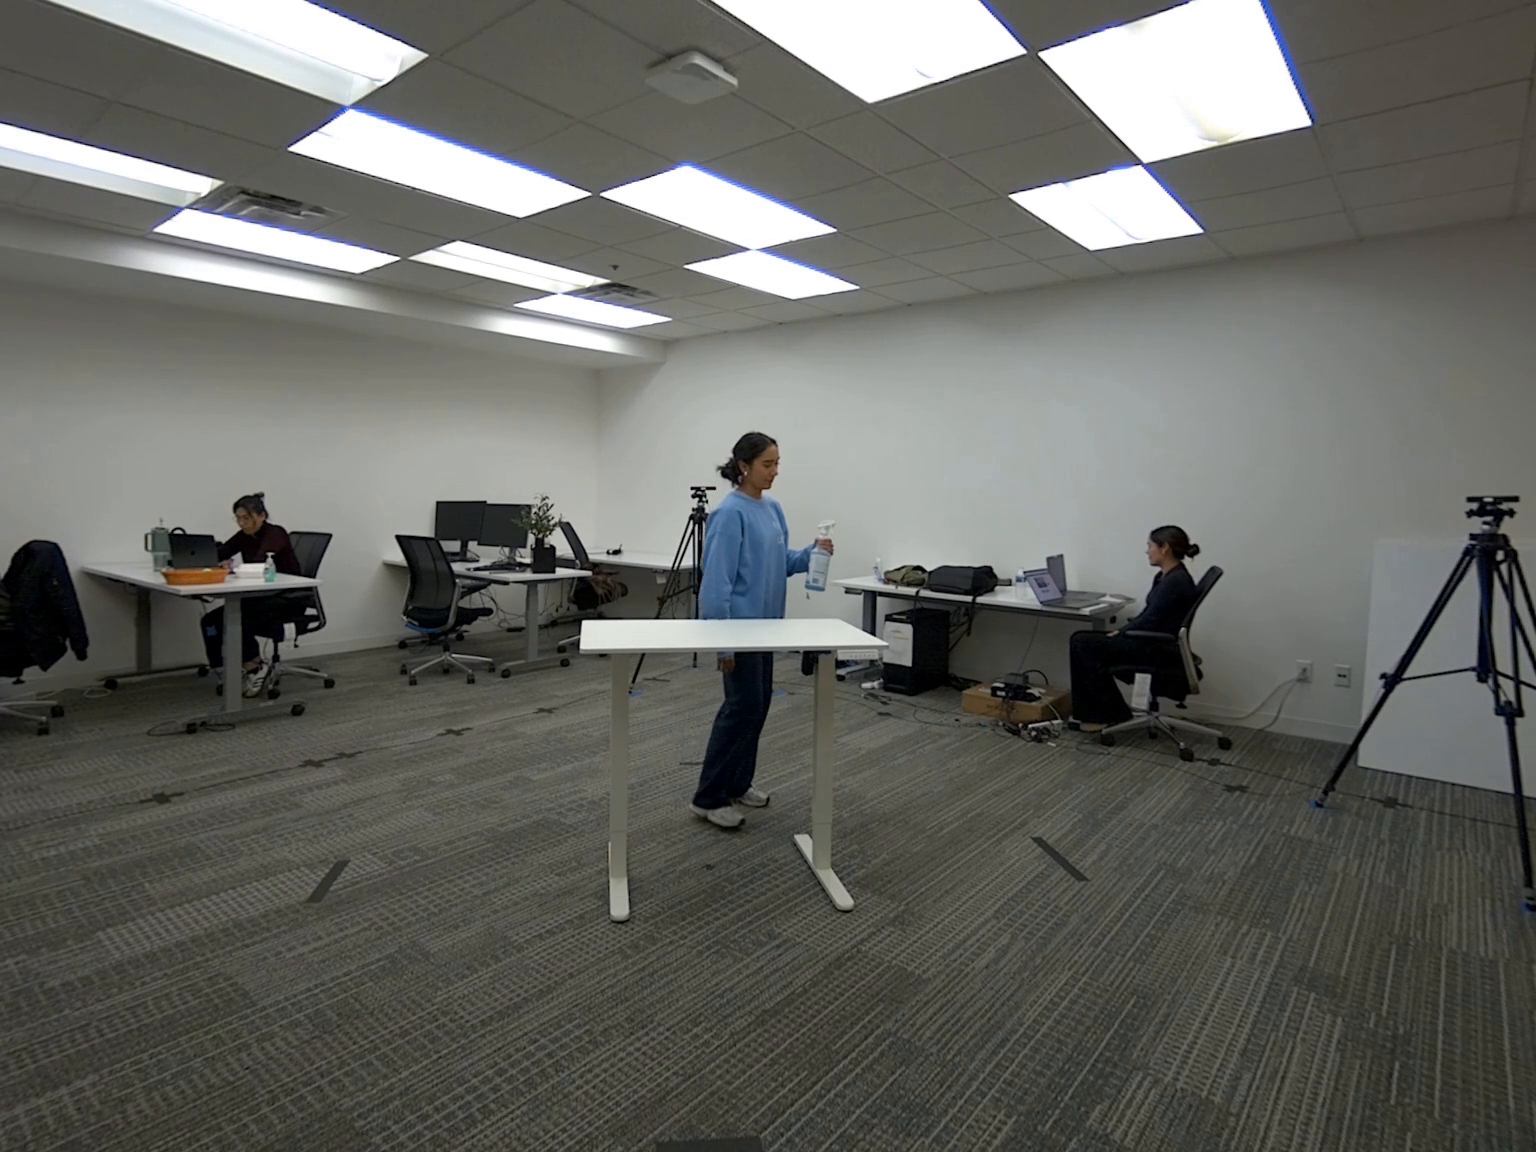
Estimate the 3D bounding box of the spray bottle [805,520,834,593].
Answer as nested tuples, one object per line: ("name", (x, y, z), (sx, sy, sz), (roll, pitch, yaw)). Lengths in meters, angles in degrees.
("spray bottle", (0.210, -0.085, 3.557), (0.085, 0.299, 0.091), (14, -8, -18))
